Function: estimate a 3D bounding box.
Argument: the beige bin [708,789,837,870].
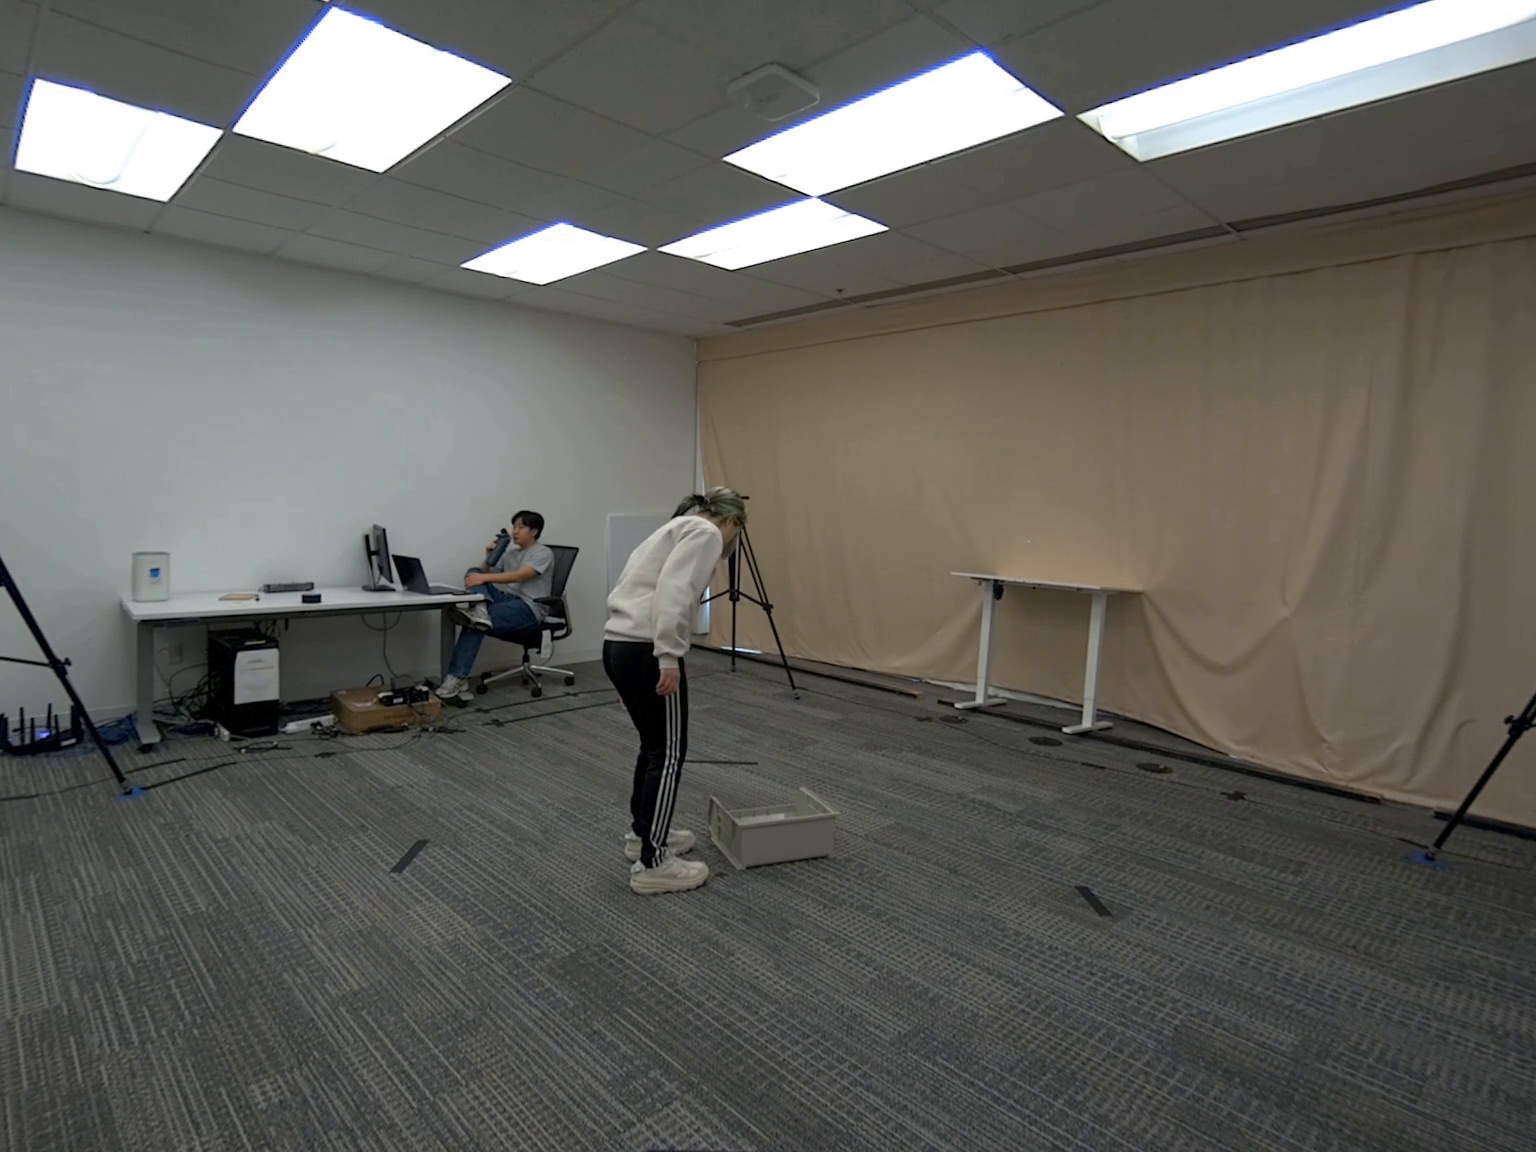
[{"bbox_3d":[0.001,0.994,3.375,0.415,0.188,0.385,1,5,-22],"label":"beige bin"}]
